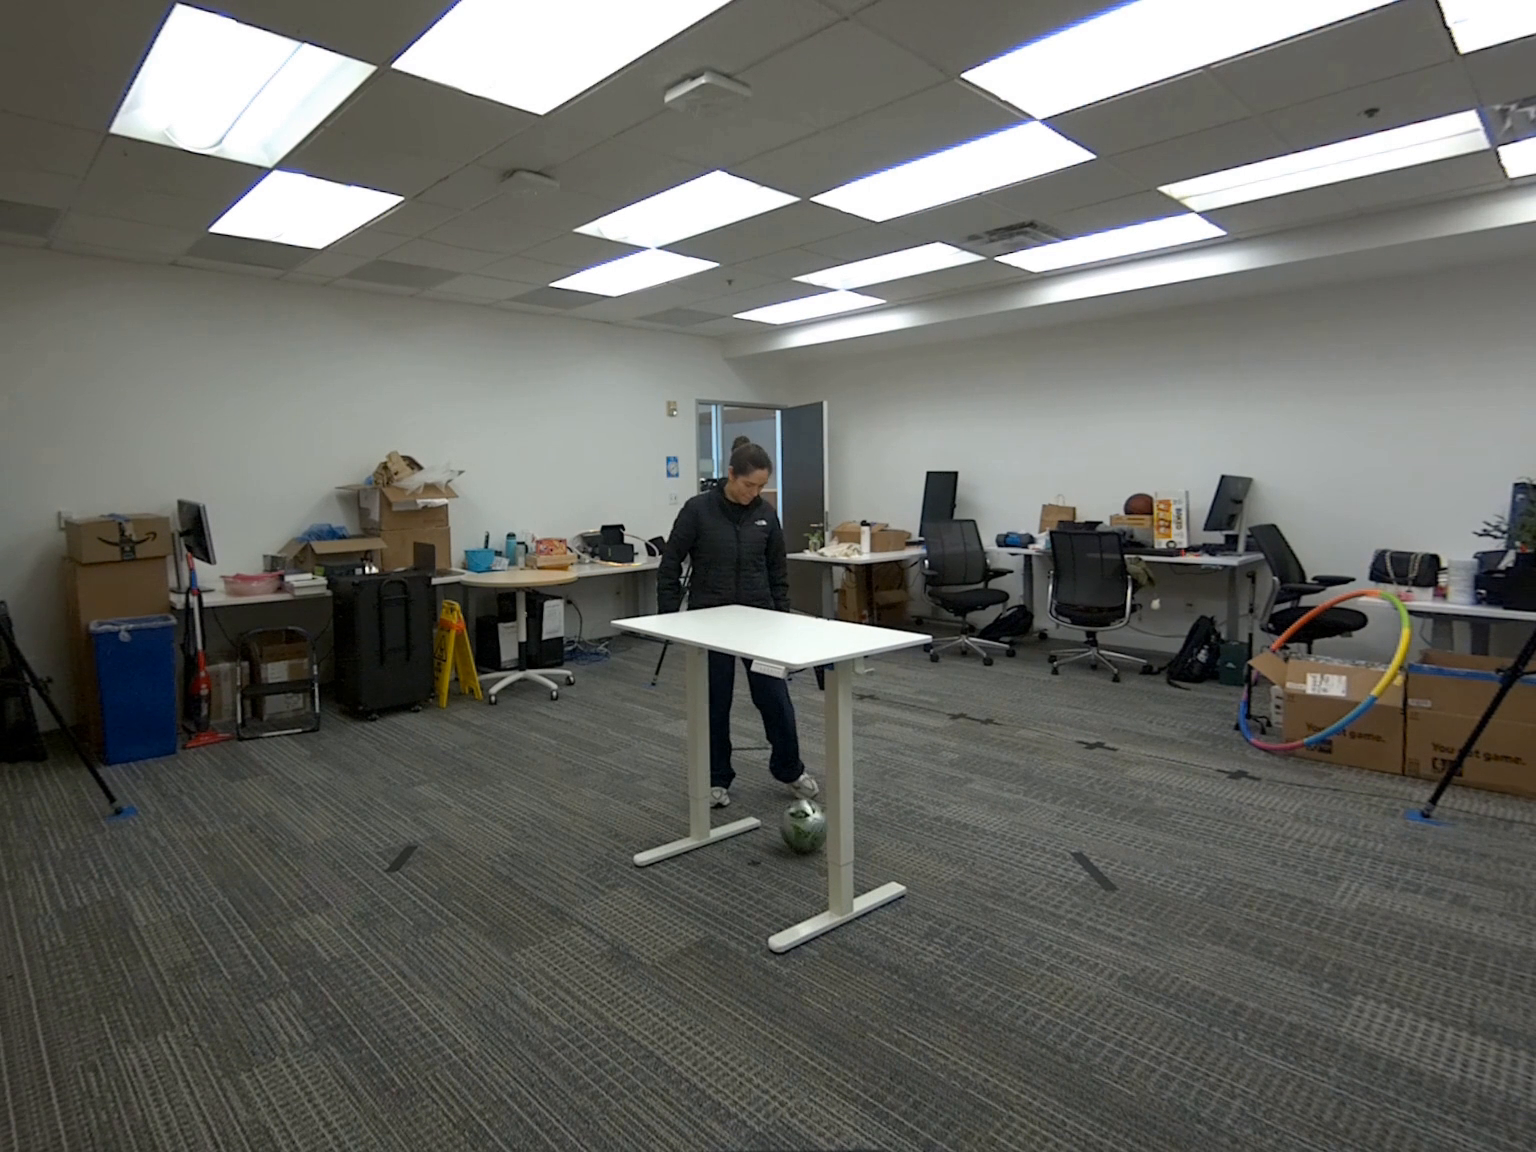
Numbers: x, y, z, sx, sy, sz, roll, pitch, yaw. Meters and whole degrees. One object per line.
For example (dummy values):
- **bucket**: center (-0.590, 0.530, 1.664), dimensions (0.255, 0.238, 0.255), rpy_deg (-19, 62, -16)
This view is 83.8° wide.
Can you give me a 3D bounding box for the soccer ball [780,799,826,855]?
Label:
- **soccer ball**: center (0.144, 0.935, 3.205), dimensions (0.187, 0.187, 0.188), rpy_deg (-1, 5, -2)
